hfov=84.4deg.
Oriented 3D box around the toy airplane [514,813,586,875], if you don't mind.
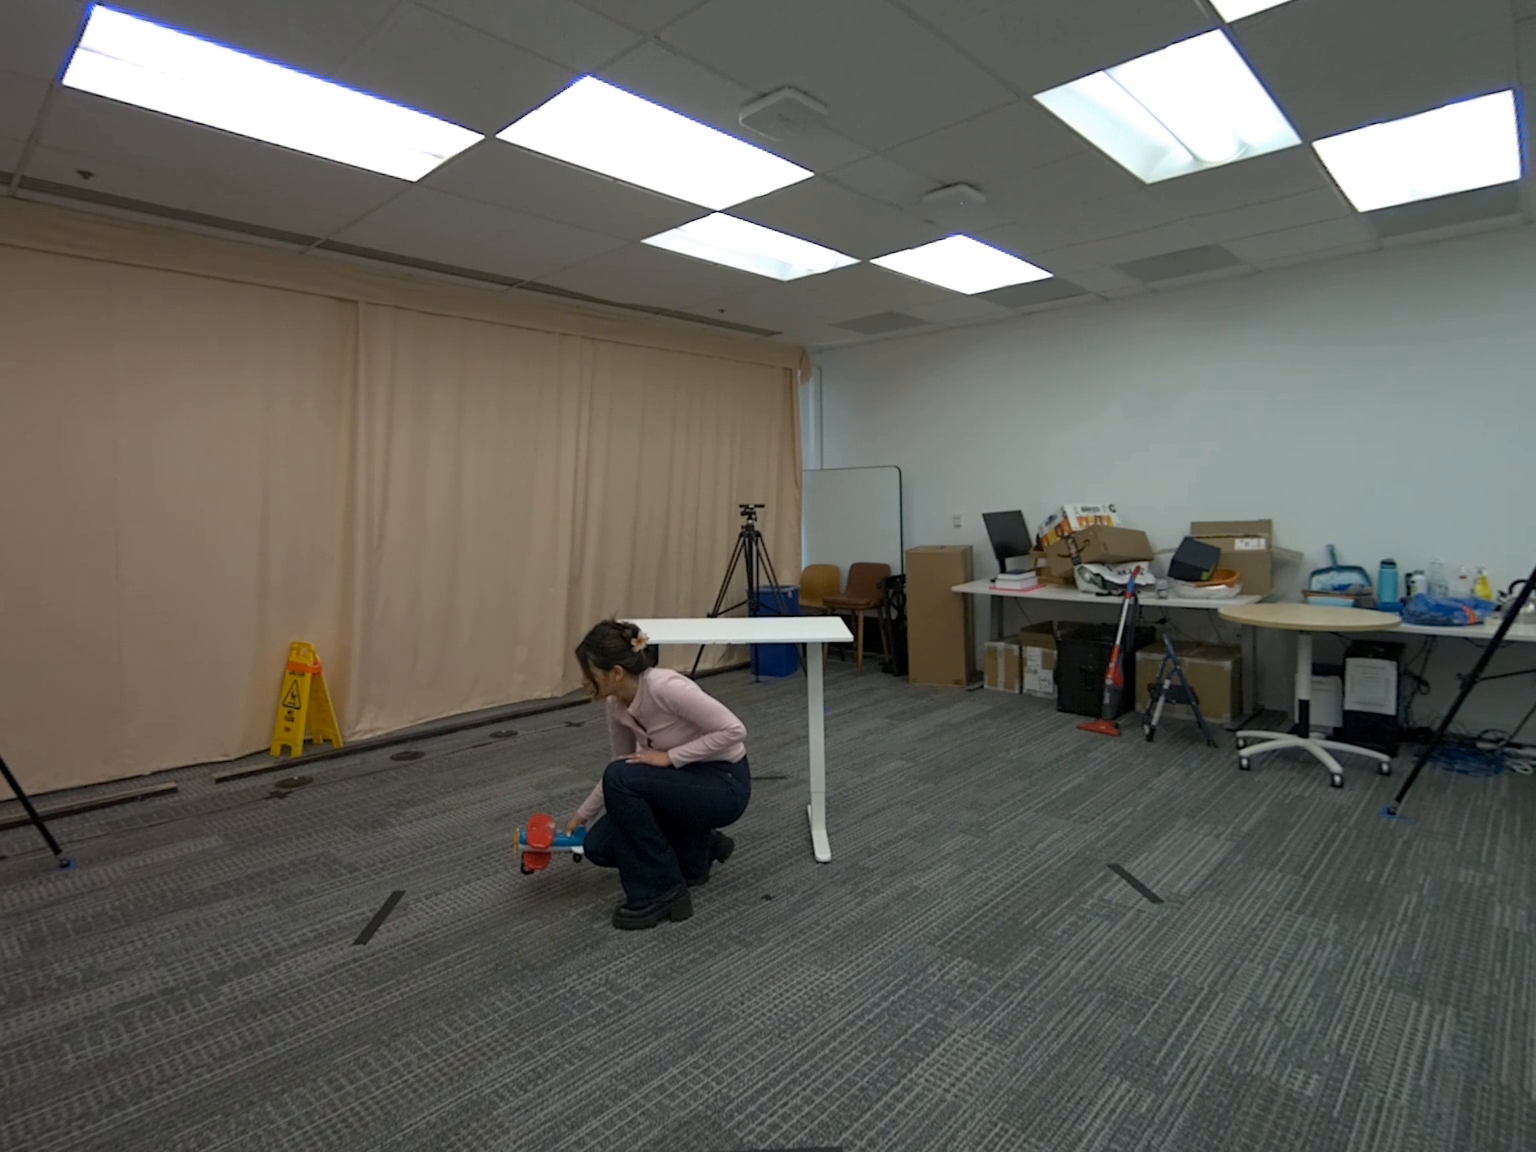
[{"bbox_3d":[-0.797,0.978,3.072,0.253,0.155,0.259,-13,12,-34],"label":"toy airplane"}]
